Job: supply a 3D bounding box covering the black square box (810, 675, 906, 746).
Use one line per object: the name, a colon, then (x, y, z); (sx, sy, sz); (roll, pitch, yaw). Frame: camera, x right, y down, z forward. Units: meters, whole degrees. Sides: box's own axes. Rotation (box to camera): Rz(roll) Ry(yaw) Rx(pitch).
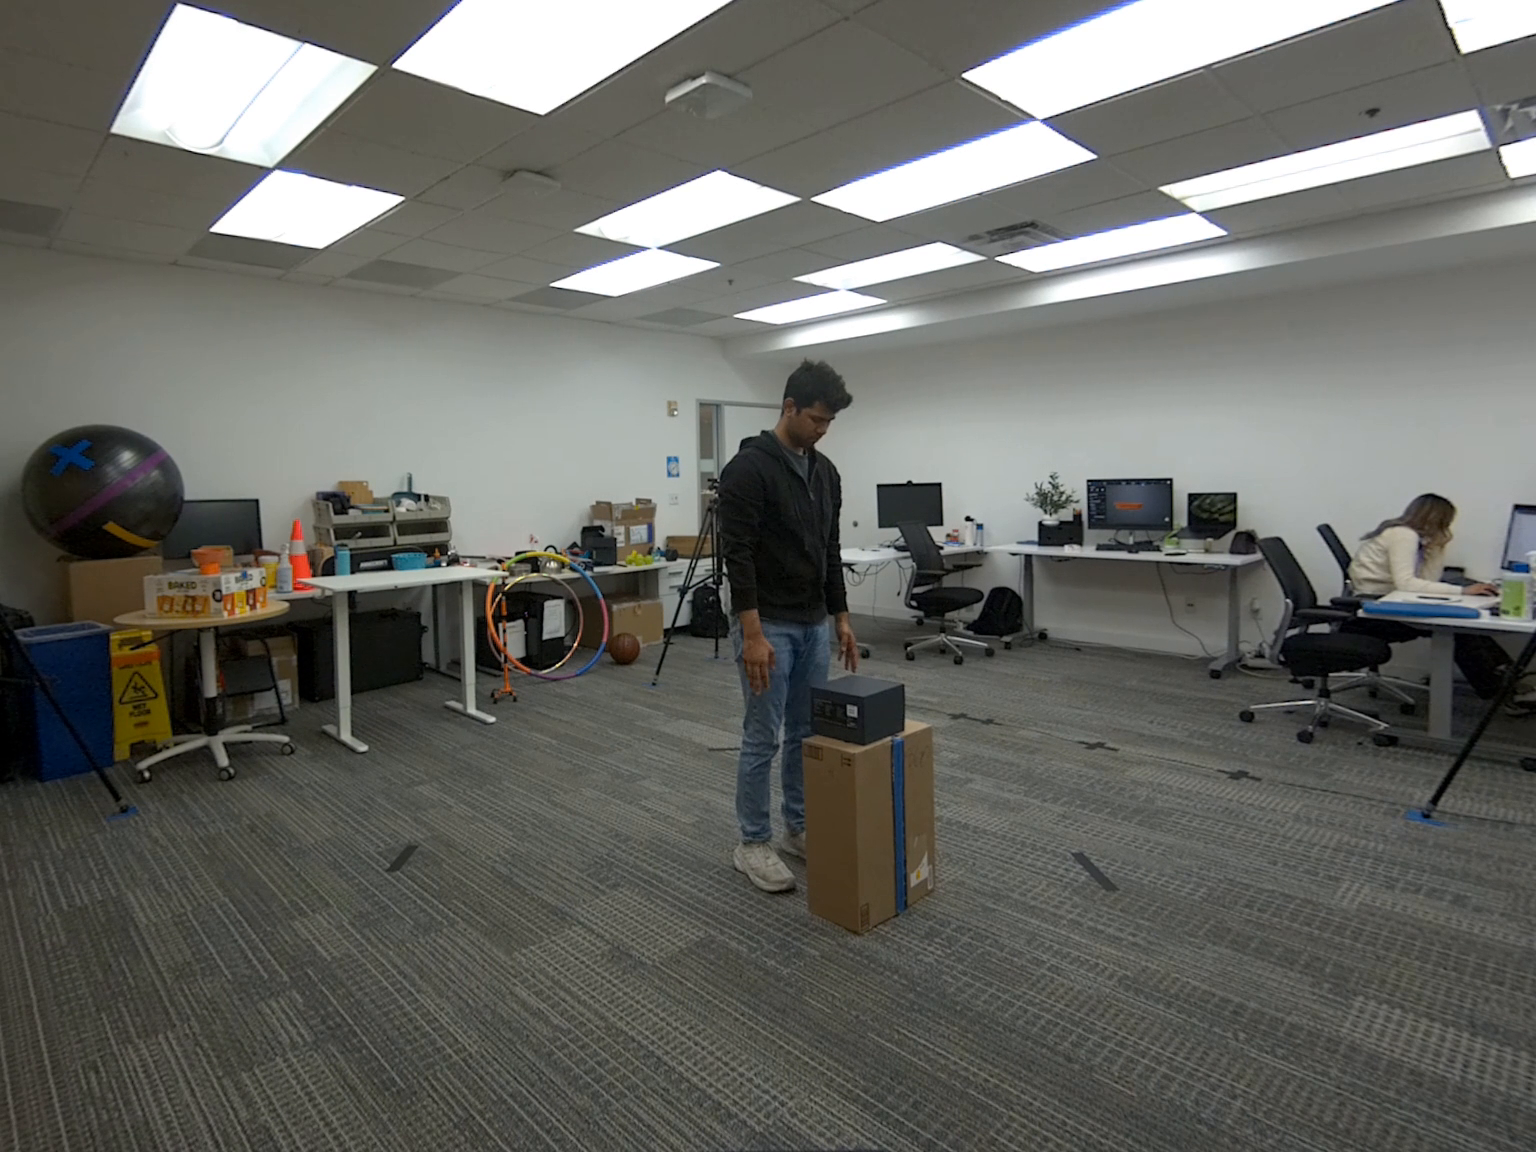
black square box: (0.300, 0.432, 2.780); (0.223, 0.155, 0.222); (3, 7, 43)
